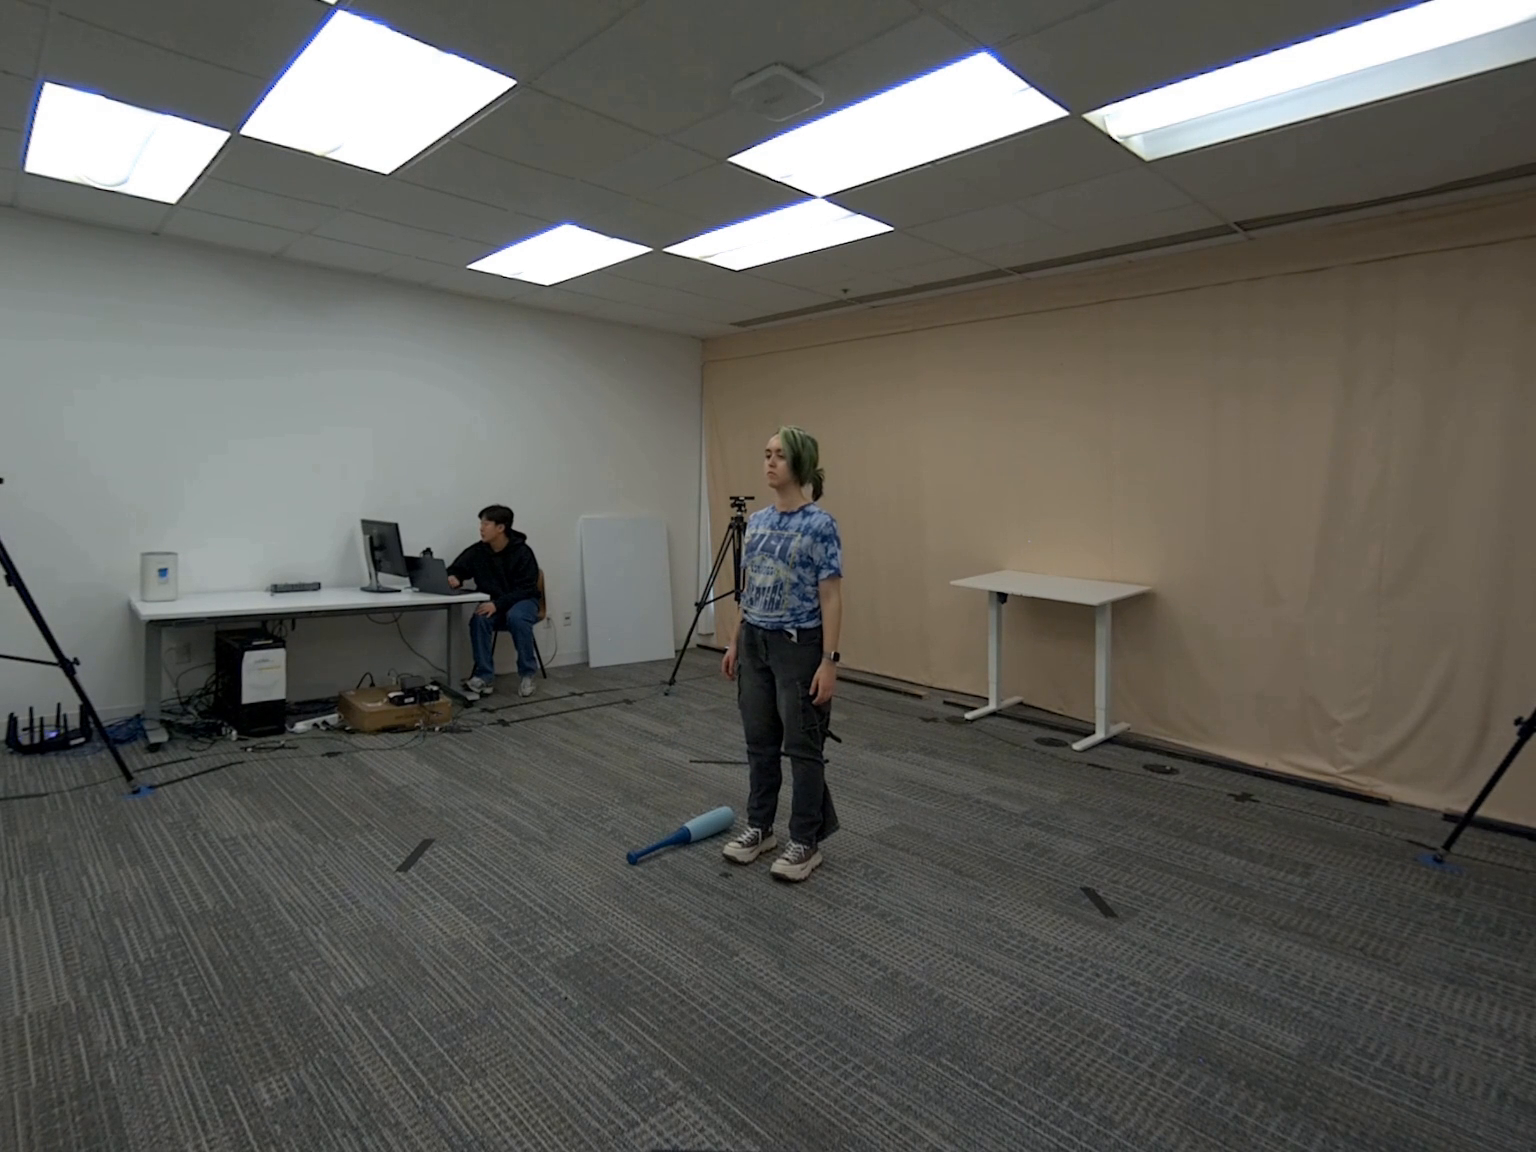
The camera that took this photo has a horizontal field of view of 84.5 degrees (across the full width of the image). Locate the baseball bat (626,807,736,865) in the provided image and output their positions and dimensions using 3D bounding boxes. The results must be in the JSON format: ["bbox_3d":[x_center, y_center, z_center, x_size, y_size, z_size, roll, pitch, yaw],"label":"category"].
[{"bbox_3d":[-0.347,1.039,3.364,0.091,0.088,0.532,5,10,42],"label":"baseball bat"}]
